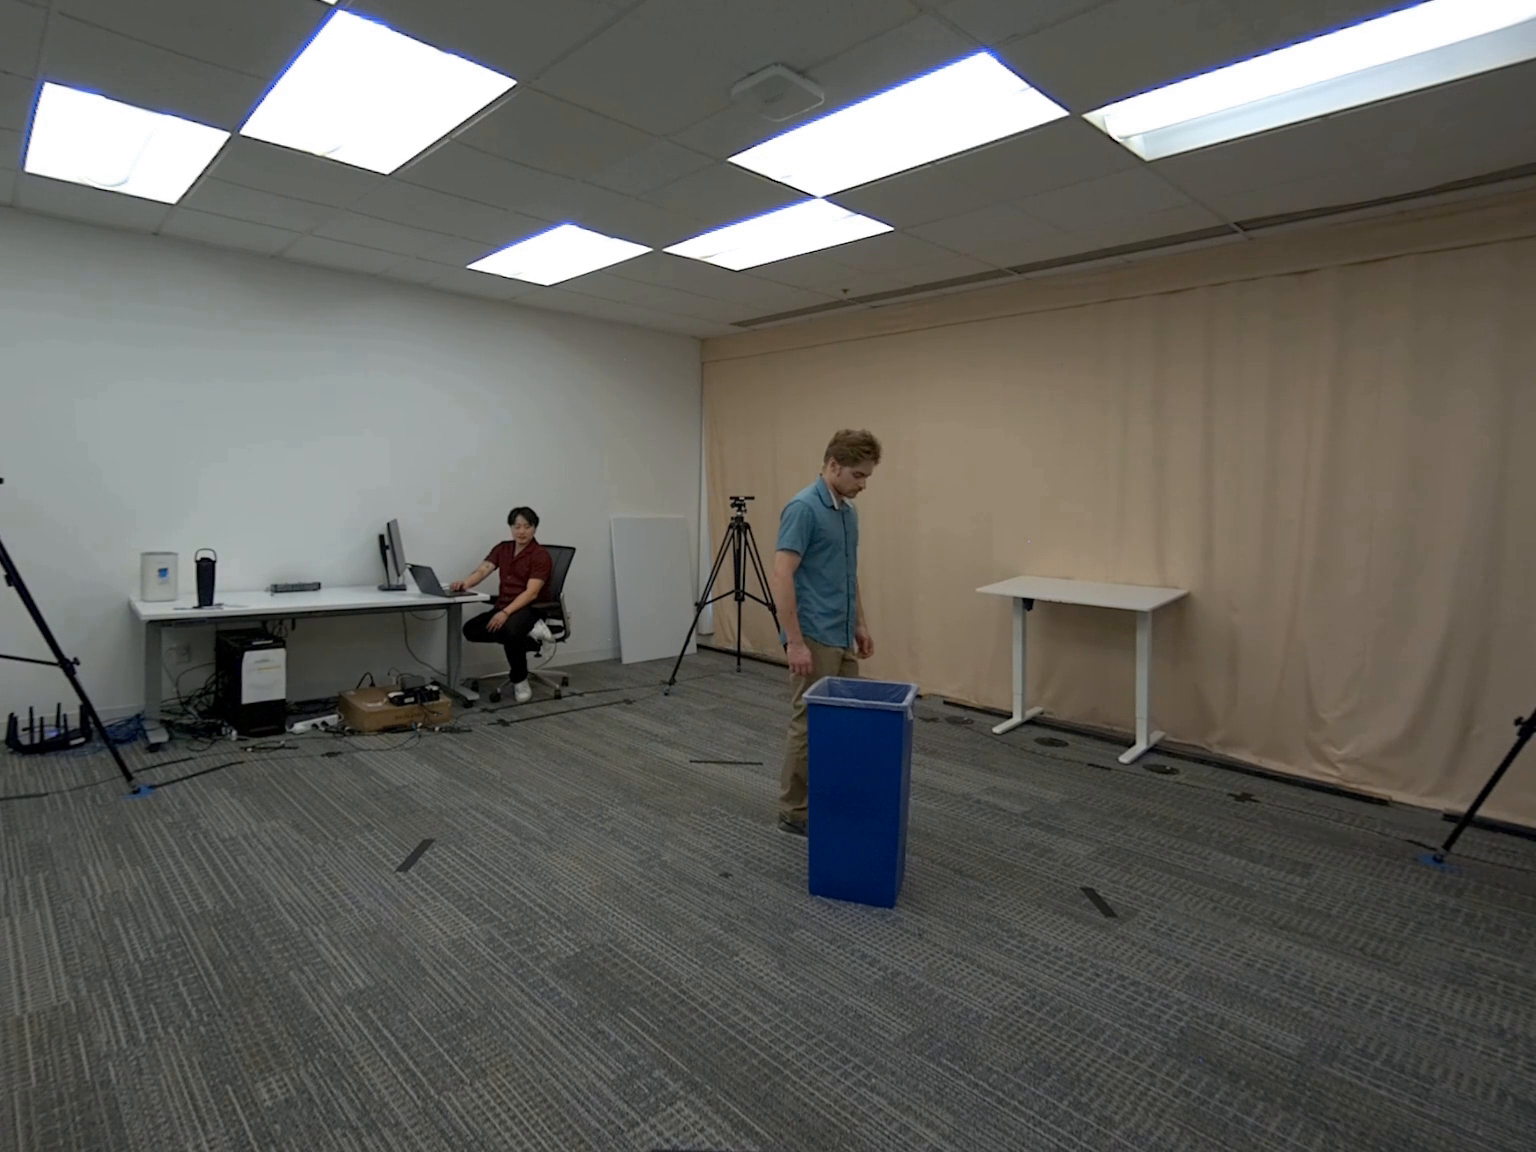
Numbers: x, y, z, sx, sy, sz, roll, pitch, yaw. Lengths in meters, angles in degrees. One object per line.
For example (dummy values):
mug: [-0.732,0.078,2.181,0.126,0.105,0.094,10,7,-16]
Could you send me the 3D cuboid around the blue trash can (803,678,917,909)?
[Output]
blue trash can: [0.322,0.765,3.040,0.379,0.712,0.374,3,3,17]
